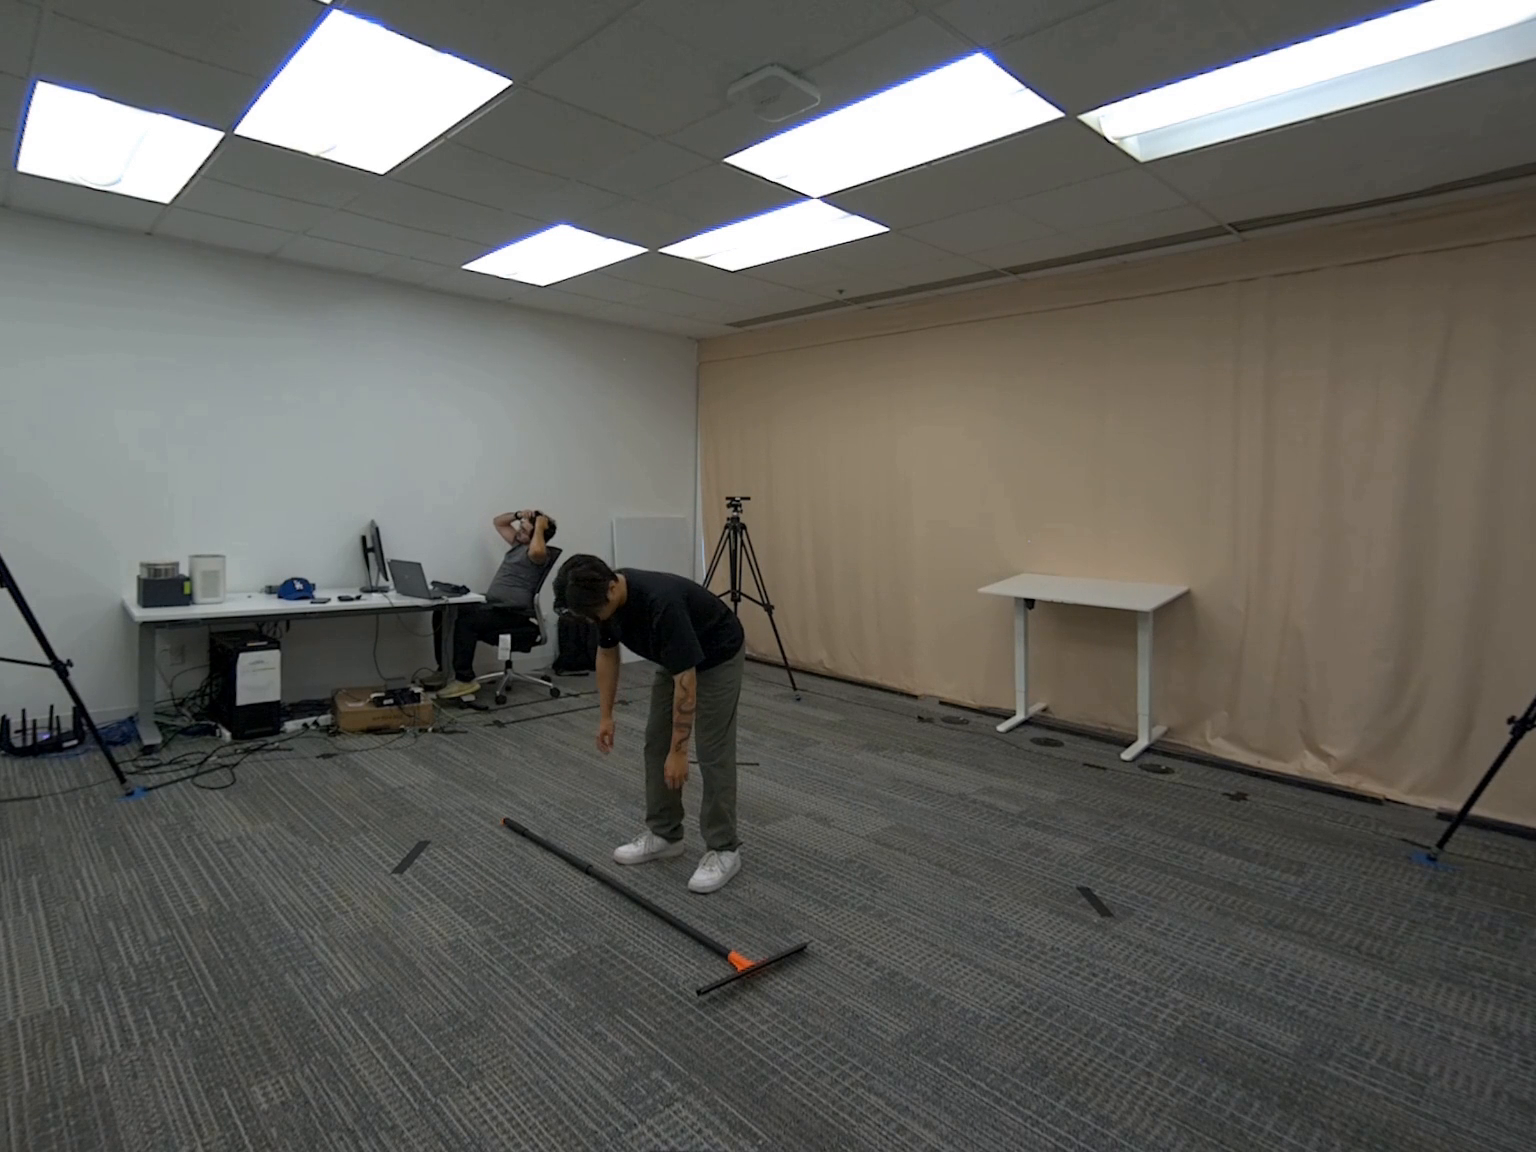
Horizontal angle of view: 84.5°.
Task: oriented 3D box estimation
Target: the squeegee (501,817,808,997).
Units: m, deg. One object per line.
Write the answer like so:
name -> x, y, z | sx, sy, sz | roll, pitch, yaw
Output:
squeegee -> -0.567, 1.068, 2.992 | 0.427, 0.053, 1.577 | -2, 5, -44
